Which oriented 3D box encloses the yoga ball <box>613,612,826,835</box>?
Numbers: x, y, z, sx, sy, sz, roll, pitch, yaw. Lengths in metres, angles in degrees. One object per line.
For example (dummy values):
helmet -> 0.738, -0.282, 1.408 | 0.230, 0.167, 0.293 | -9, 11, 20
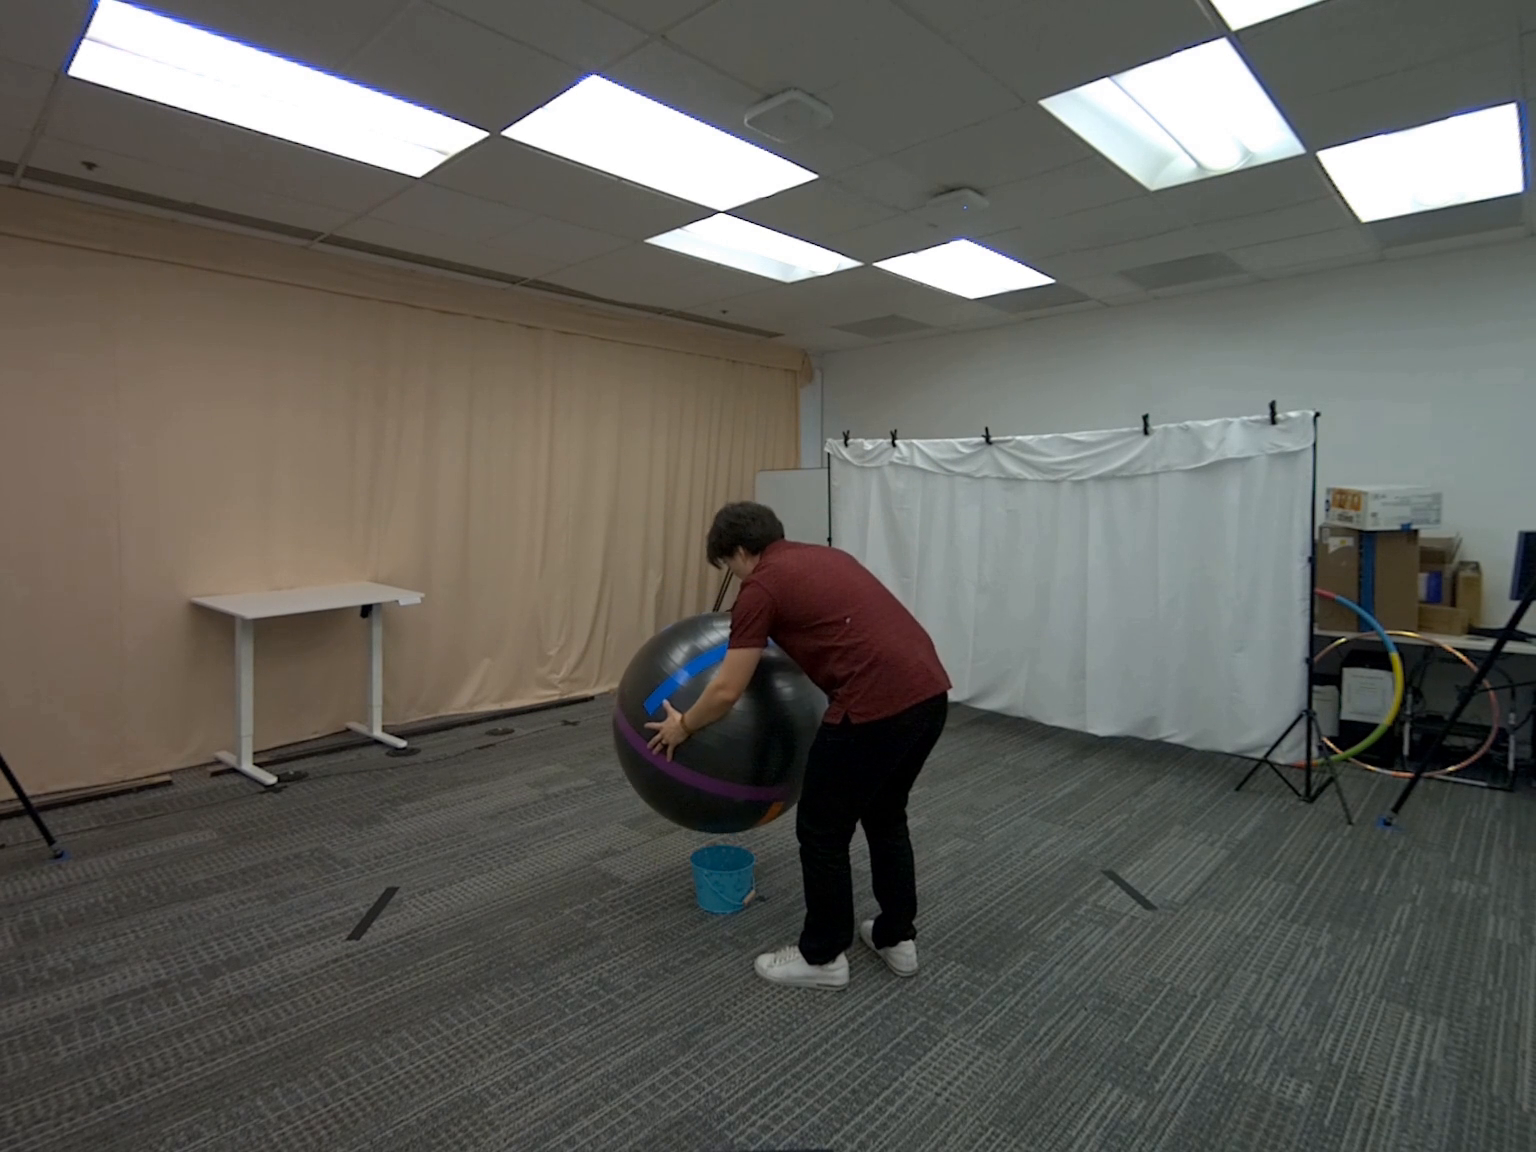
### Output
yoga ball -> -0.158, 0.507, 2.965 | 0.757, 0.756, 0.760 | 0, 4, -2
